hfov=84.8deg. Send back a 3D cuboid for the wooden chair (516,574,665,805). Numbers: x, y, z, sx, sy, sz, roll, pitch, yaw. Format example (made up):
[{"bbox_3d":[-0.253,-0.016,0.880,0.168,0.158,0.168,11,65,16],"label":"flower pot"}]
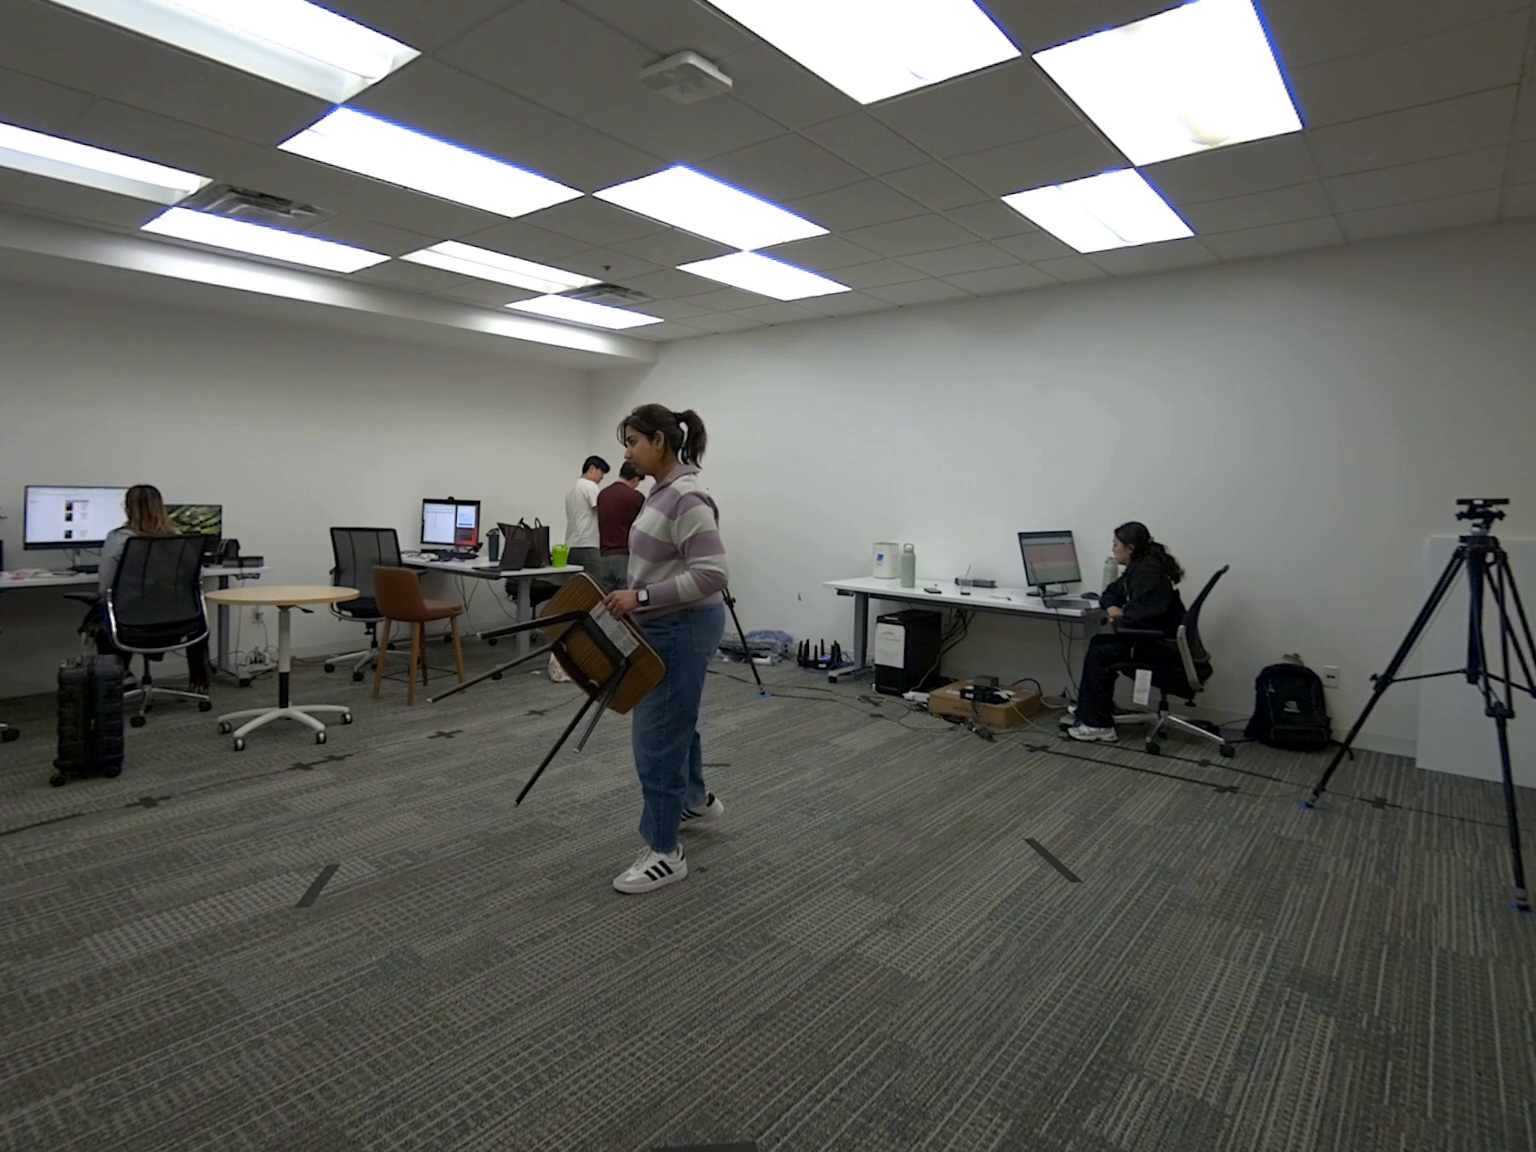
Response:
[{"bbox_3d":[-0.627,0.271,2.929,0.524,0.481,0.871,-44,-2,35],"label":"wooden chair"}]
